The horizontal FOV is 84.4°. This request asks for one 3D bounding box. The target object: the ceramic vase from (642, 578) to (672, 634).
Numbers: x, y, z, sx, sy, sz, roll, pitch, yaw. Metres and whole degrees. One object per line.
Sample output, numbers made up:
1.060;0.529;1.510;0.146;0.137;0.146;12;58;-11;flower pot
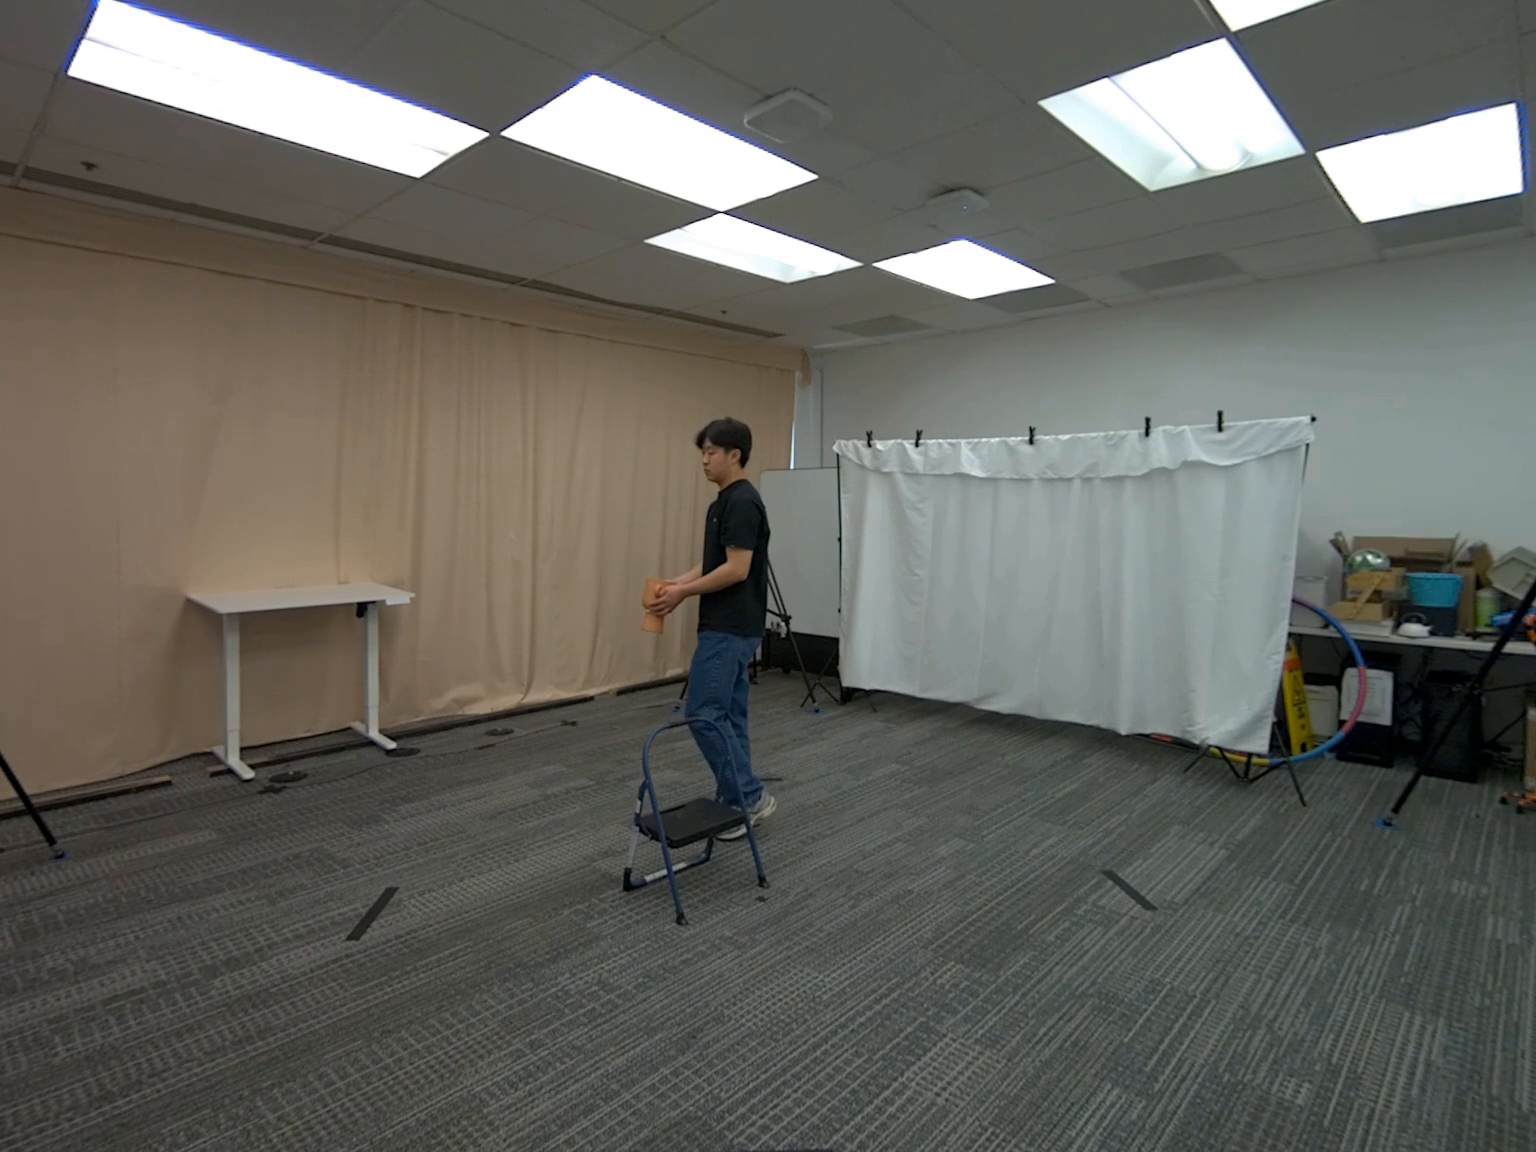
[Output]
-0.468;0.129;3.584;0.153;0.220;0.139;14;-5;-44;ceramic vase
